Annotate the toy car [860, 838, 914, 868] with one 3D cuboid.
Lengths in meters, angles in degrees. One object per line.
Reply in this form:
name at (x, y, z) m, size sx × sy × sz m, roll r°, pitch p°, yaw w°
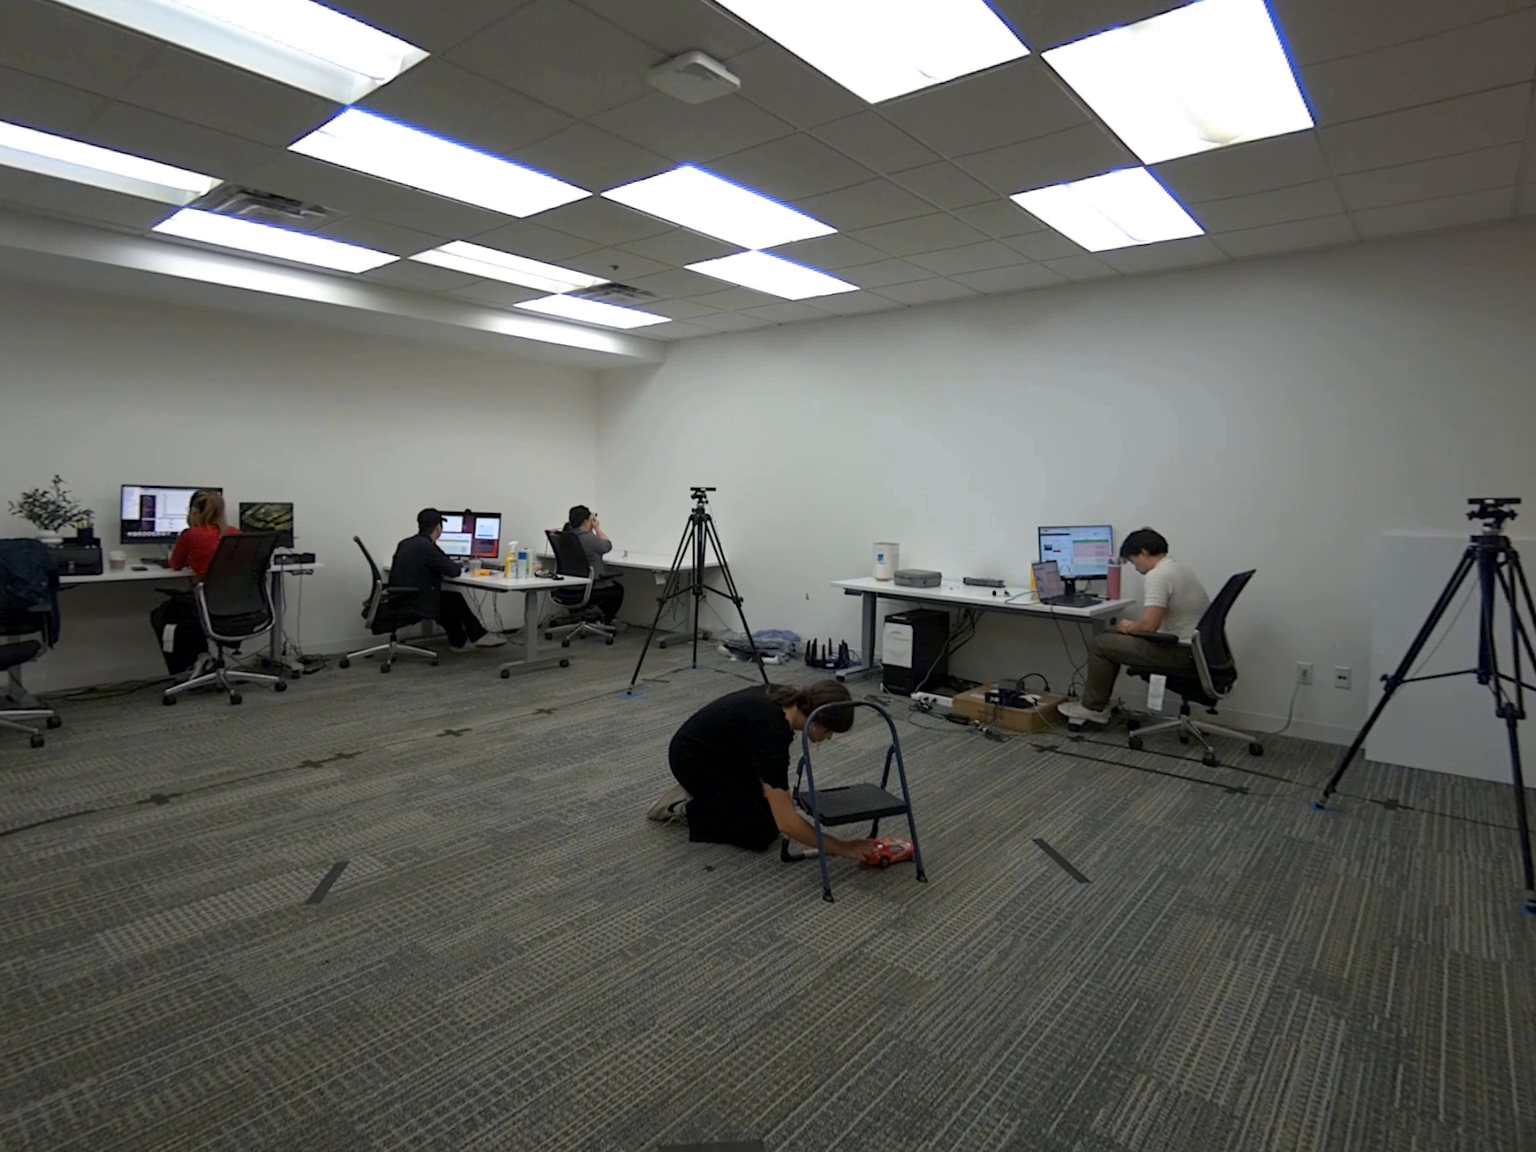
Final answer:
toy car at (0.445, 1.044, 3.216) m, size 0.247 × 0.083 × 0.134 m, roll 10°, pitch 0°, yaw -28°
